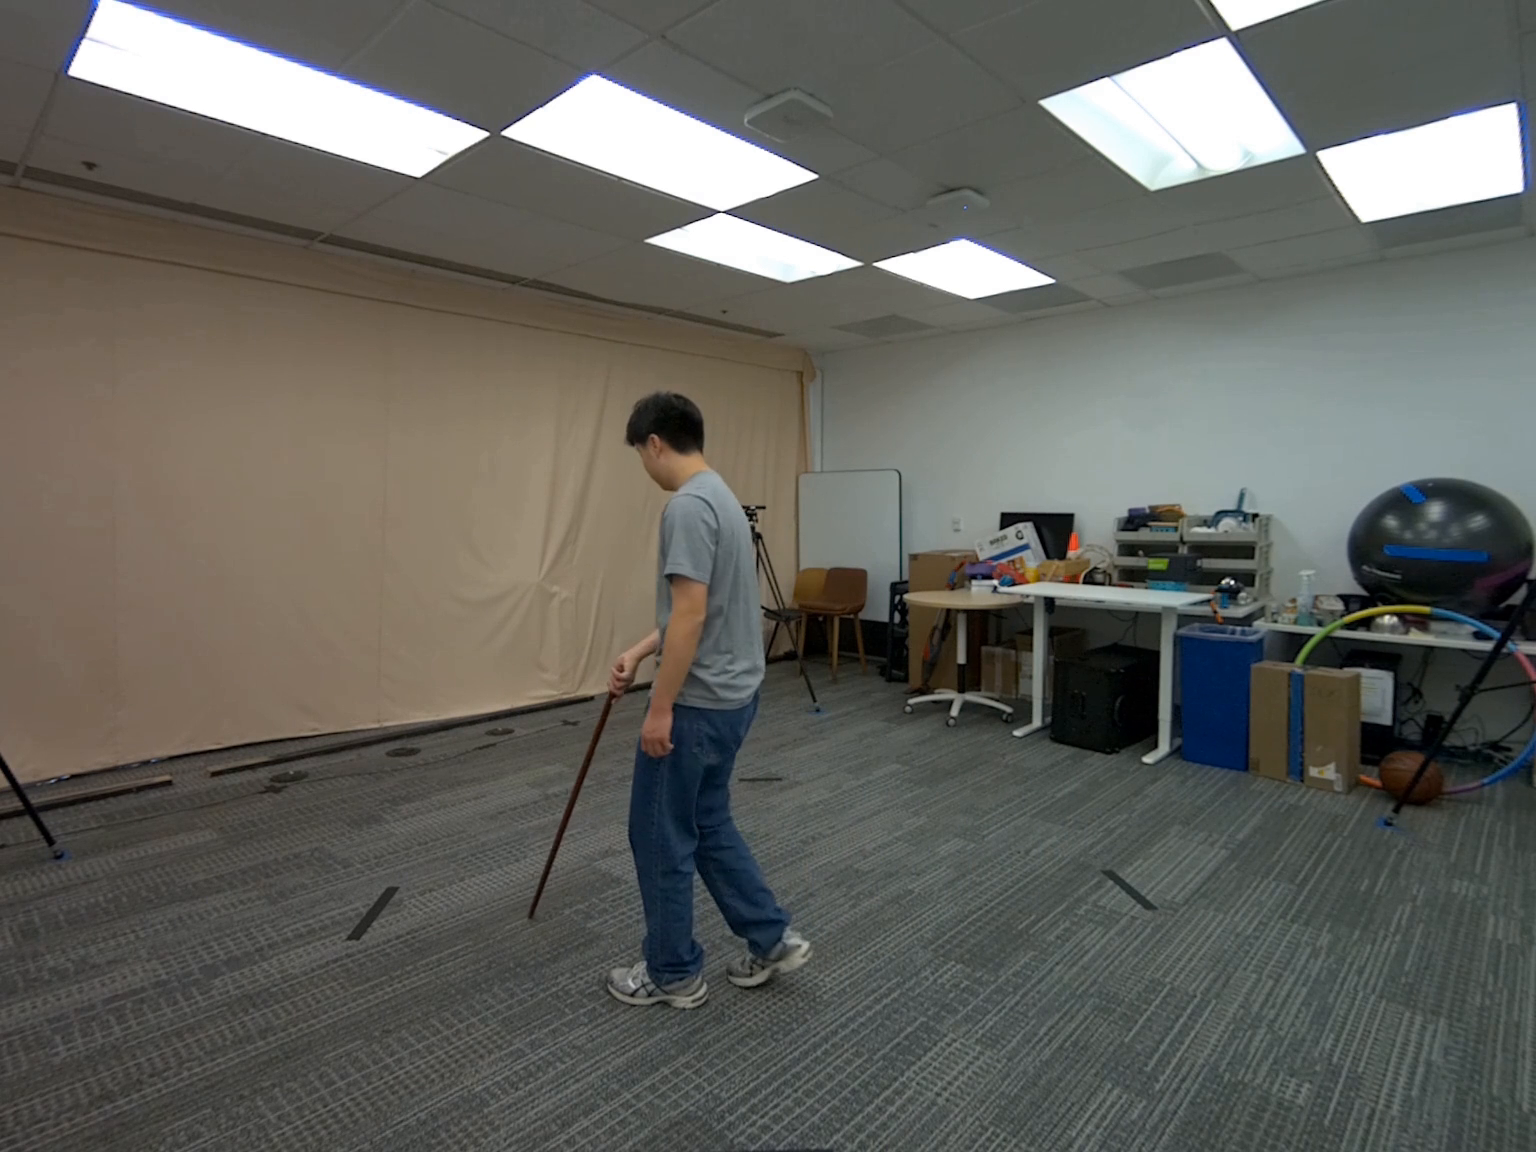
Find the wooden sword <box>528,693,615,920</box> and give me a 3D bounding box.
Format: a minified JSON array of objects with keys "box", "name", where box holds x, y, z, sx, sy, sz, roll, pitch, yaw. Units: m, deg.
[{"box":[-0.644,0.742,2.676,0.052,1.021,0.023,30,22,16],"name":"wooden sword"}]
